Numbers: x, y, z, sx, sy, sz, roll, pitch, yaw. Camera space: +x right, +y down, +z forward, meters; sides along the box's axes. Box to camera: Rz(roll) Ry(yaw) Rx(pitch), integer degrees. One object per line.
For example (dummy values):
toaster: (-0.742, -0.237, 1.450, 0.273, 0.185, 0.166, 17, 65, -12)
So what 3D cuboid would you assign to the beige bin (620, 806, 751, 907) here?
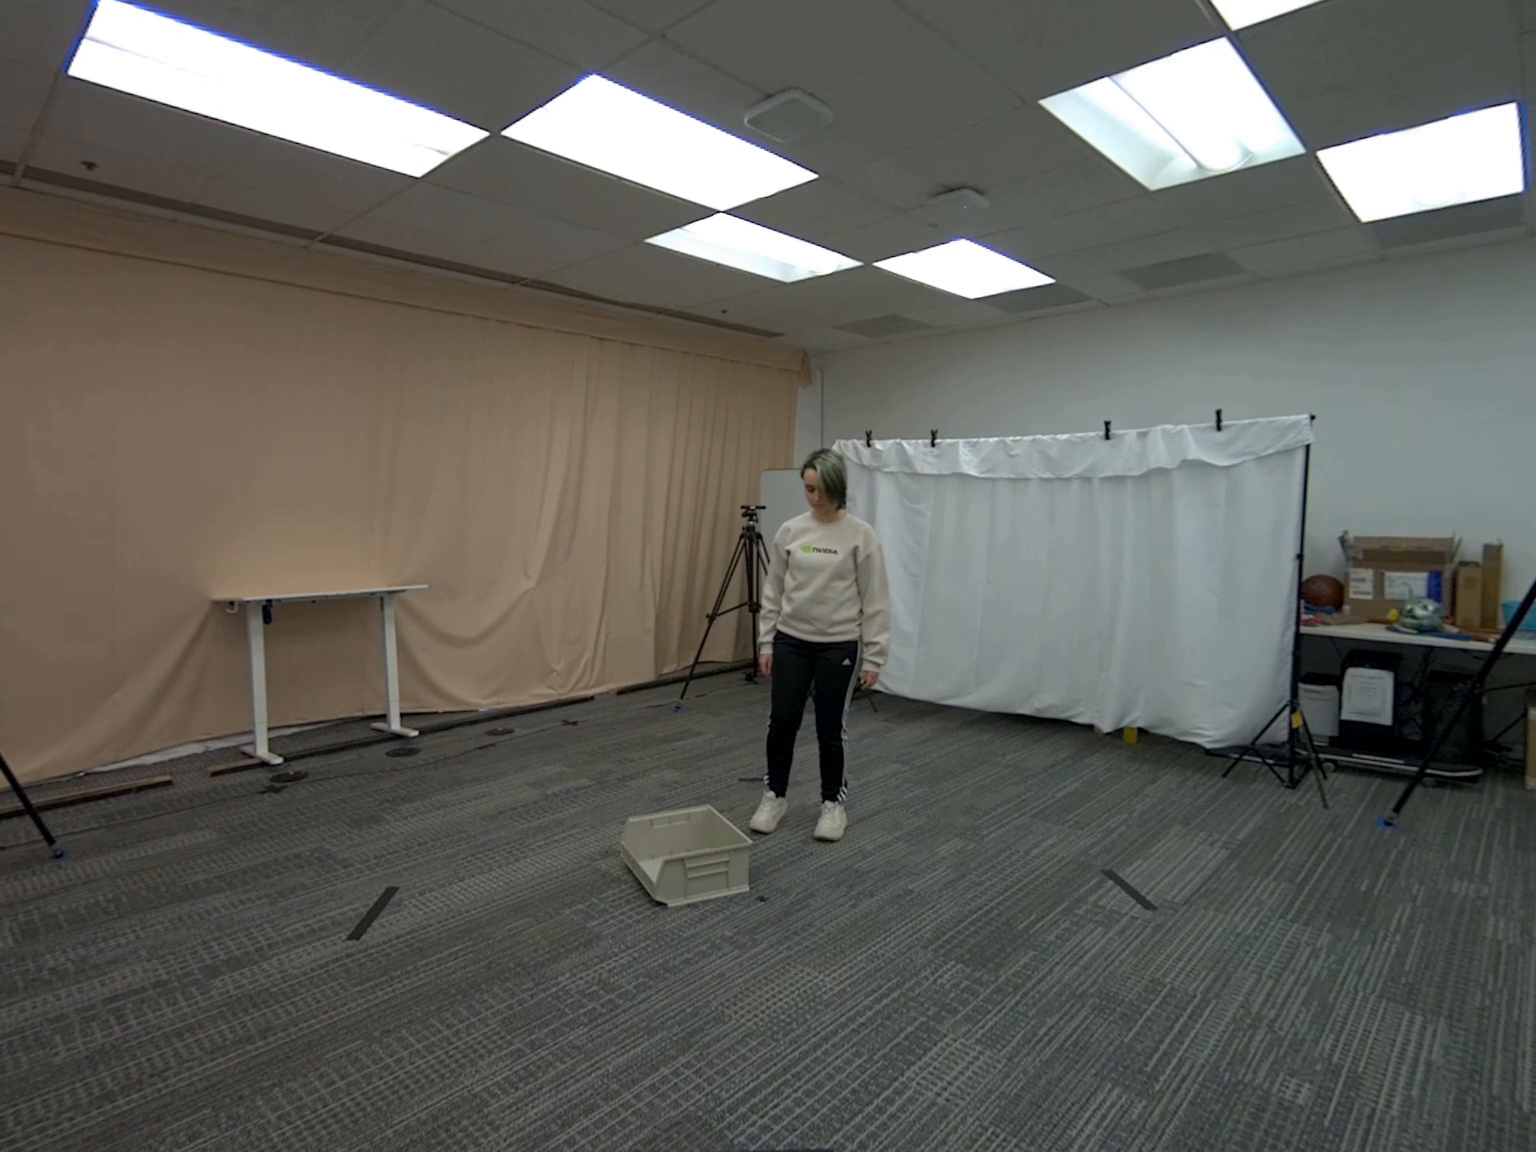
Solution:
beige bin: (-0.316, 1.042, 3.157, 0.368, 0.188, 0.433, -2, 4, -25)
